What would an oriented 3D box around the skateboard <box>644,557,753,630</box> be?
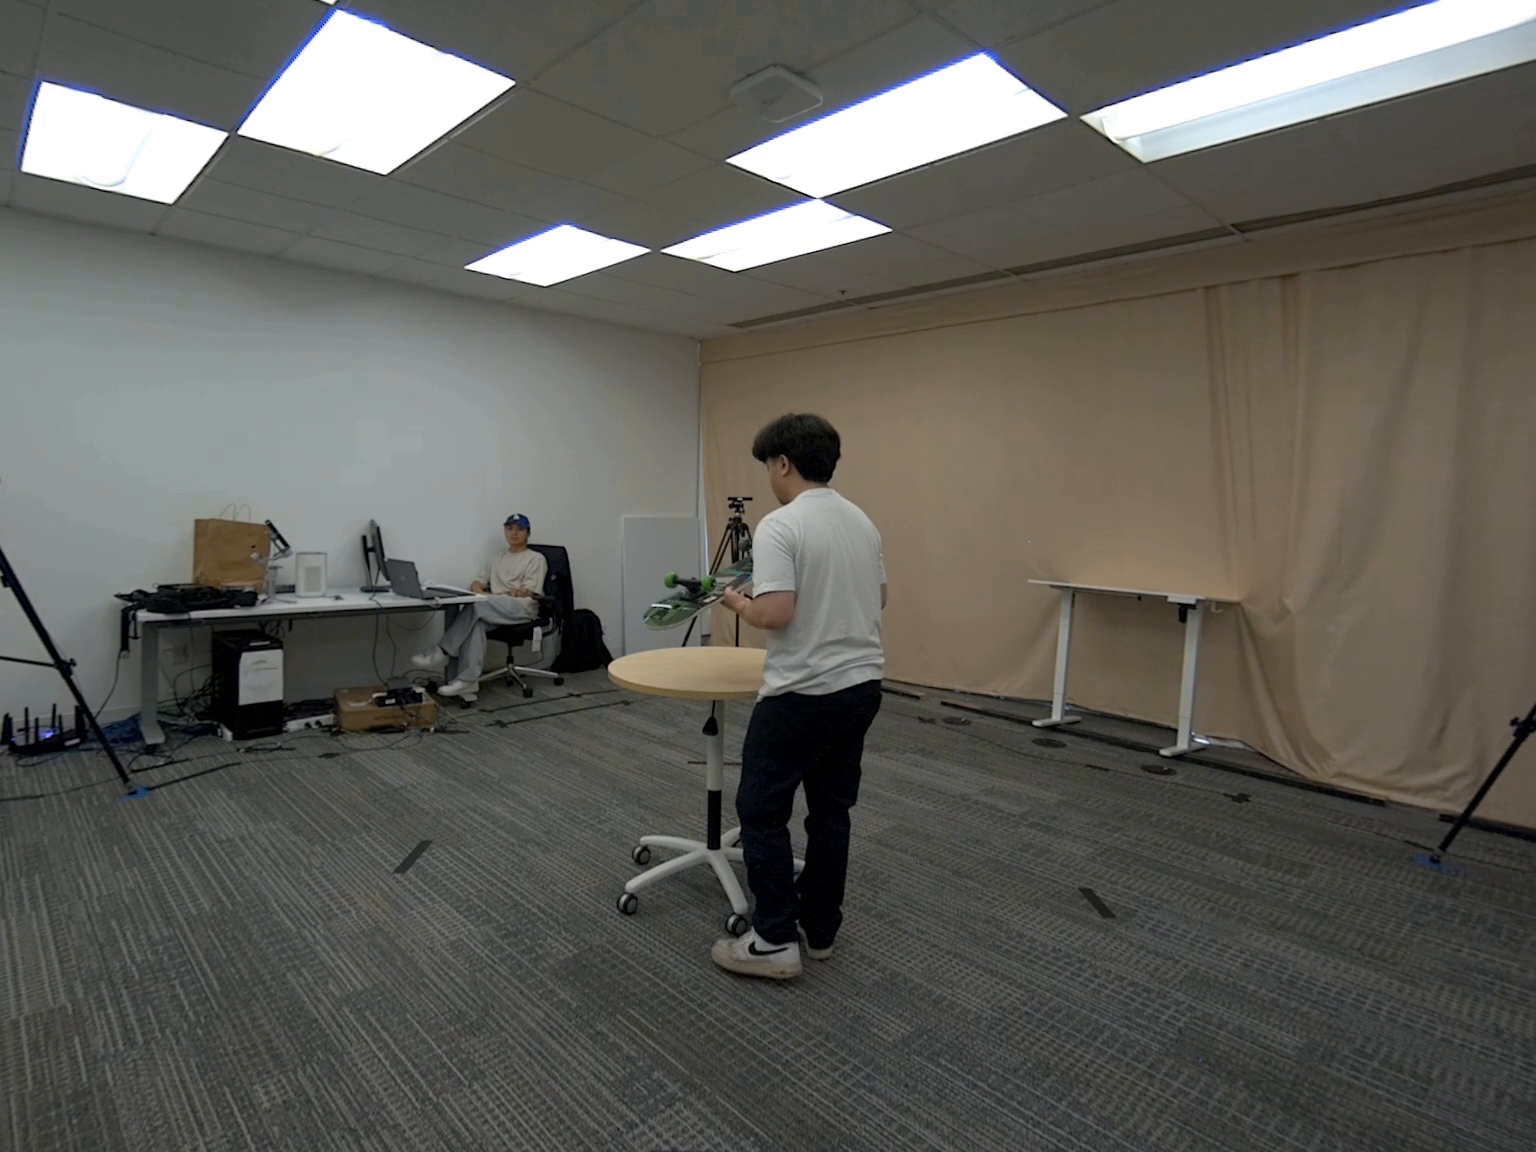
[{"bbox_3d":[-0.132,-0.005,2.770,0.198,0.109,0.777,4,21,35],"label":"skateboard"}]
